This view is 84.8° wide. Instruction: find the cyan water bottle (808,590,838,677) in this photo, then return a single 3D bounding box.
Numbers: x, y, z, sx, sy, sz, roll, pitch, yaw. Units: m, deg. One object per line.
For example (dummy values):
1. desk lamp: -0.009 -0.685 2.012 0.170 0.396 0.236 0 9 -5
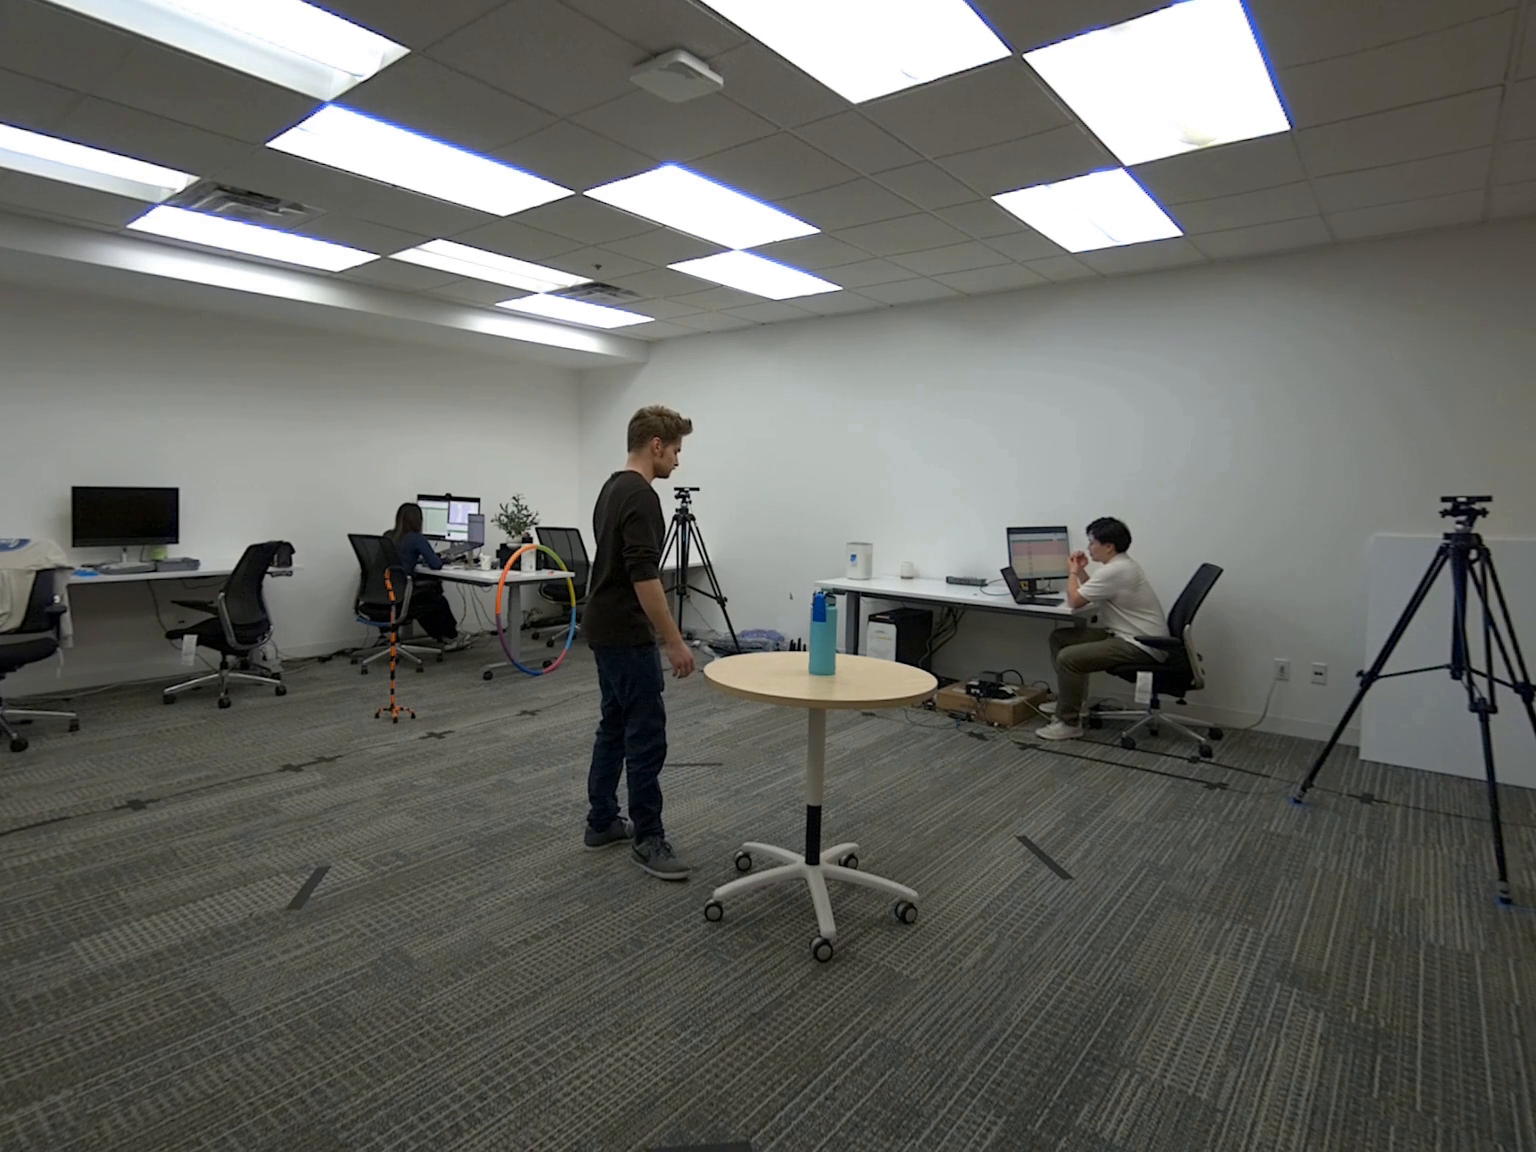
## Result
1. cyan water bottle: 0.180 0.182 2.822 0.092 0.282 0.093 1 4 -2
